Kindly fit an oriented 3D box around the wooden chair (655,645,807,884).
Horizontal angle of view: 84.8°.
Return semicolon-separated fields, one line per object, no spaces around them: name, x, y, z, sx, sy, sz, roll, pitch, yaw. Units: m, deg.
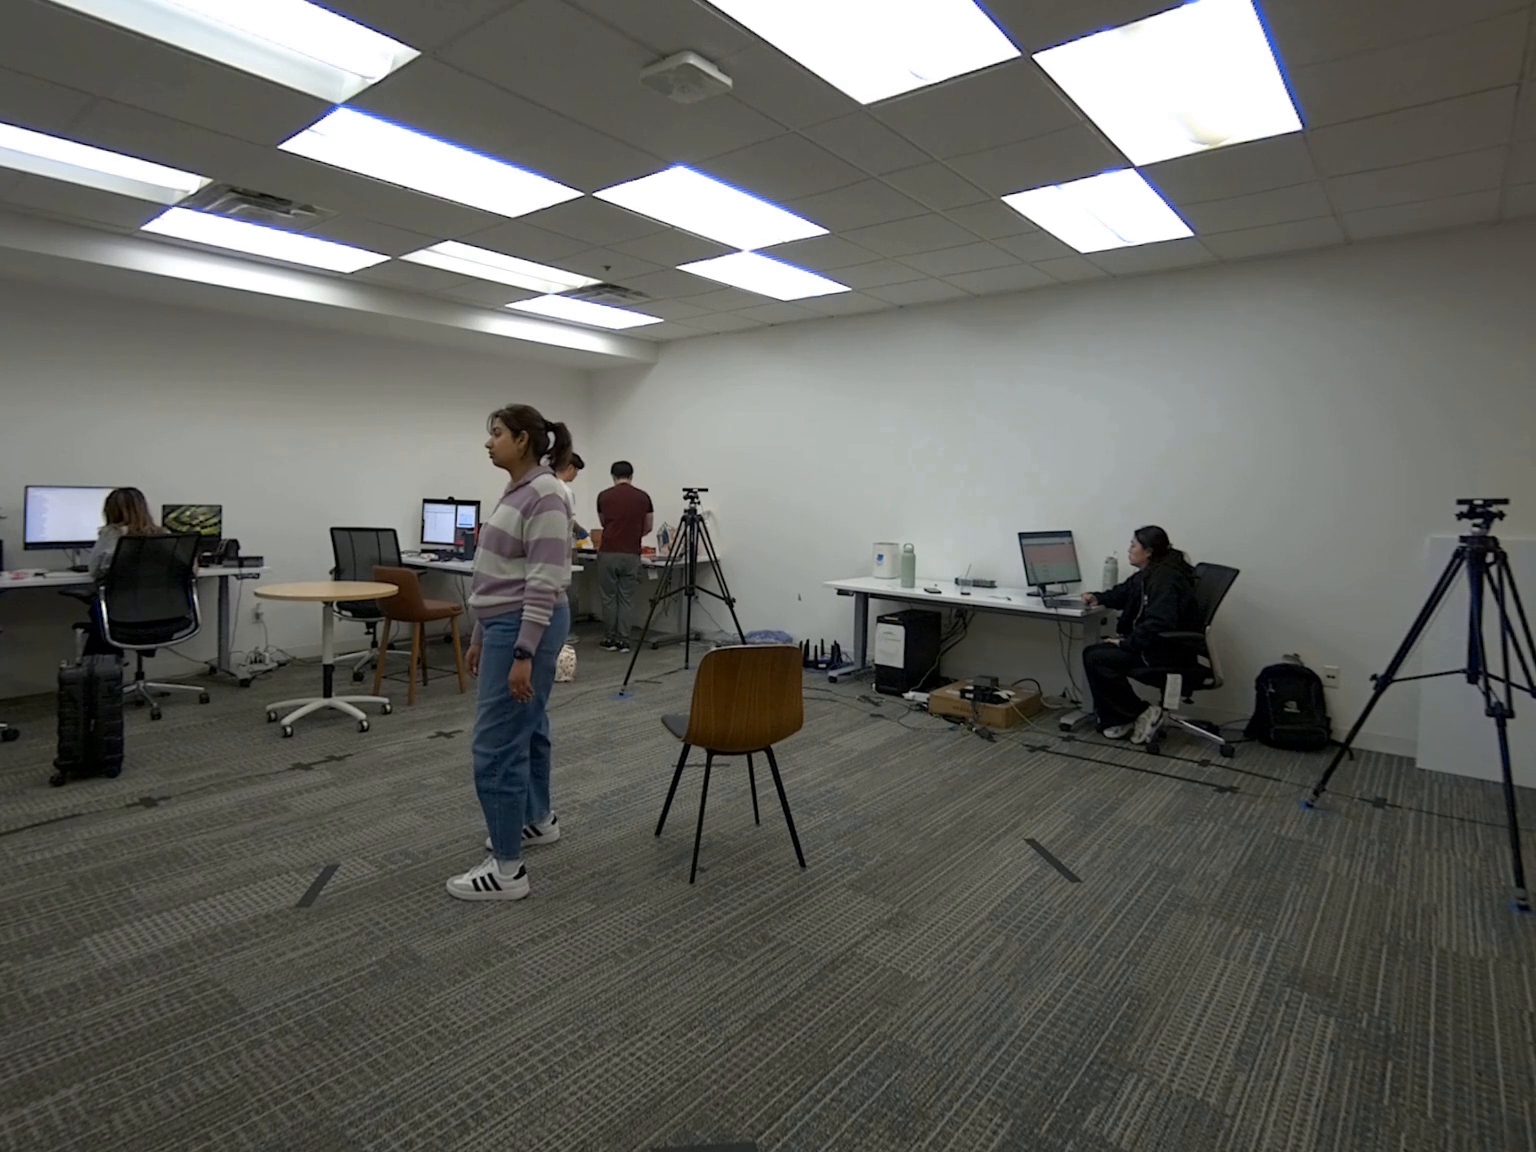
wooden chair;-0.164;0.634;3.250;0.468;0.872;0.538;-1;8;-22
